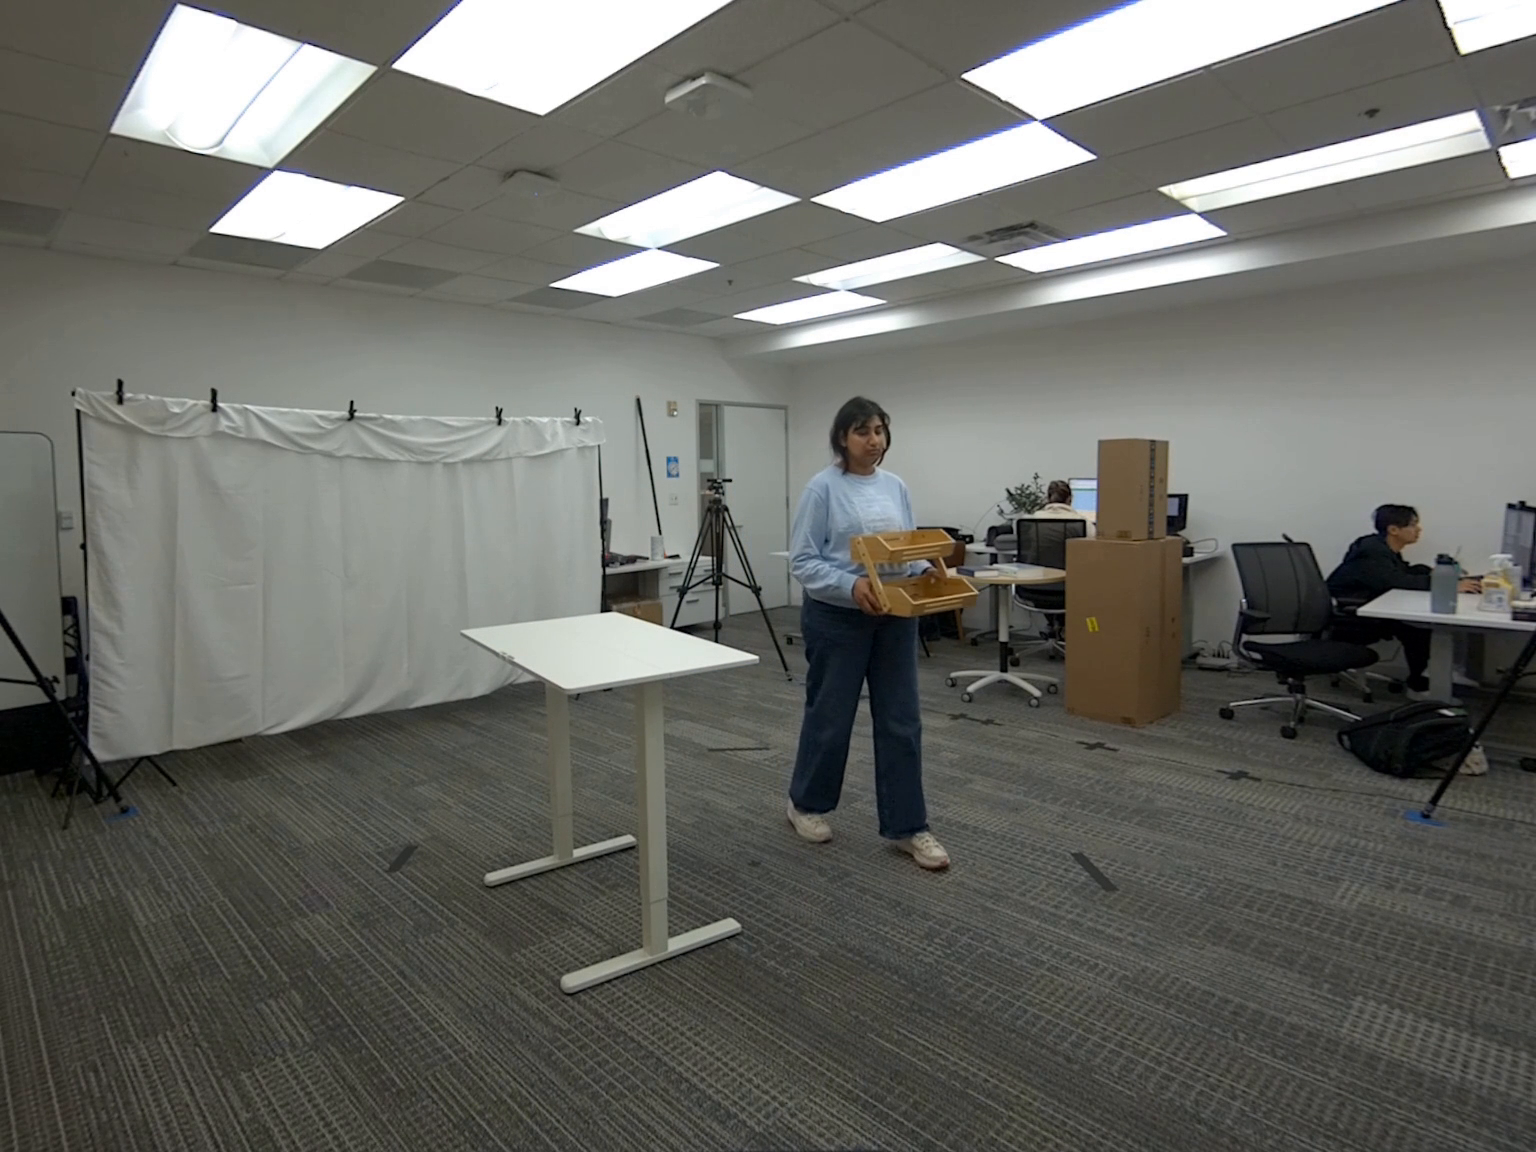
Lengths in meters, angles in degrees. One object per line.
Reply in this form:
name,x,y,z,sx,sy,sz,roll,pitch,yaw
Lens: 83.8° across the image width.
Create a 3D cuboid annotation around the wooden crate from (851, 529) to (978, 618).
wooden crate,0.507,-0.022,2.942,0.317,0.273,0.309,-6,4,-29
